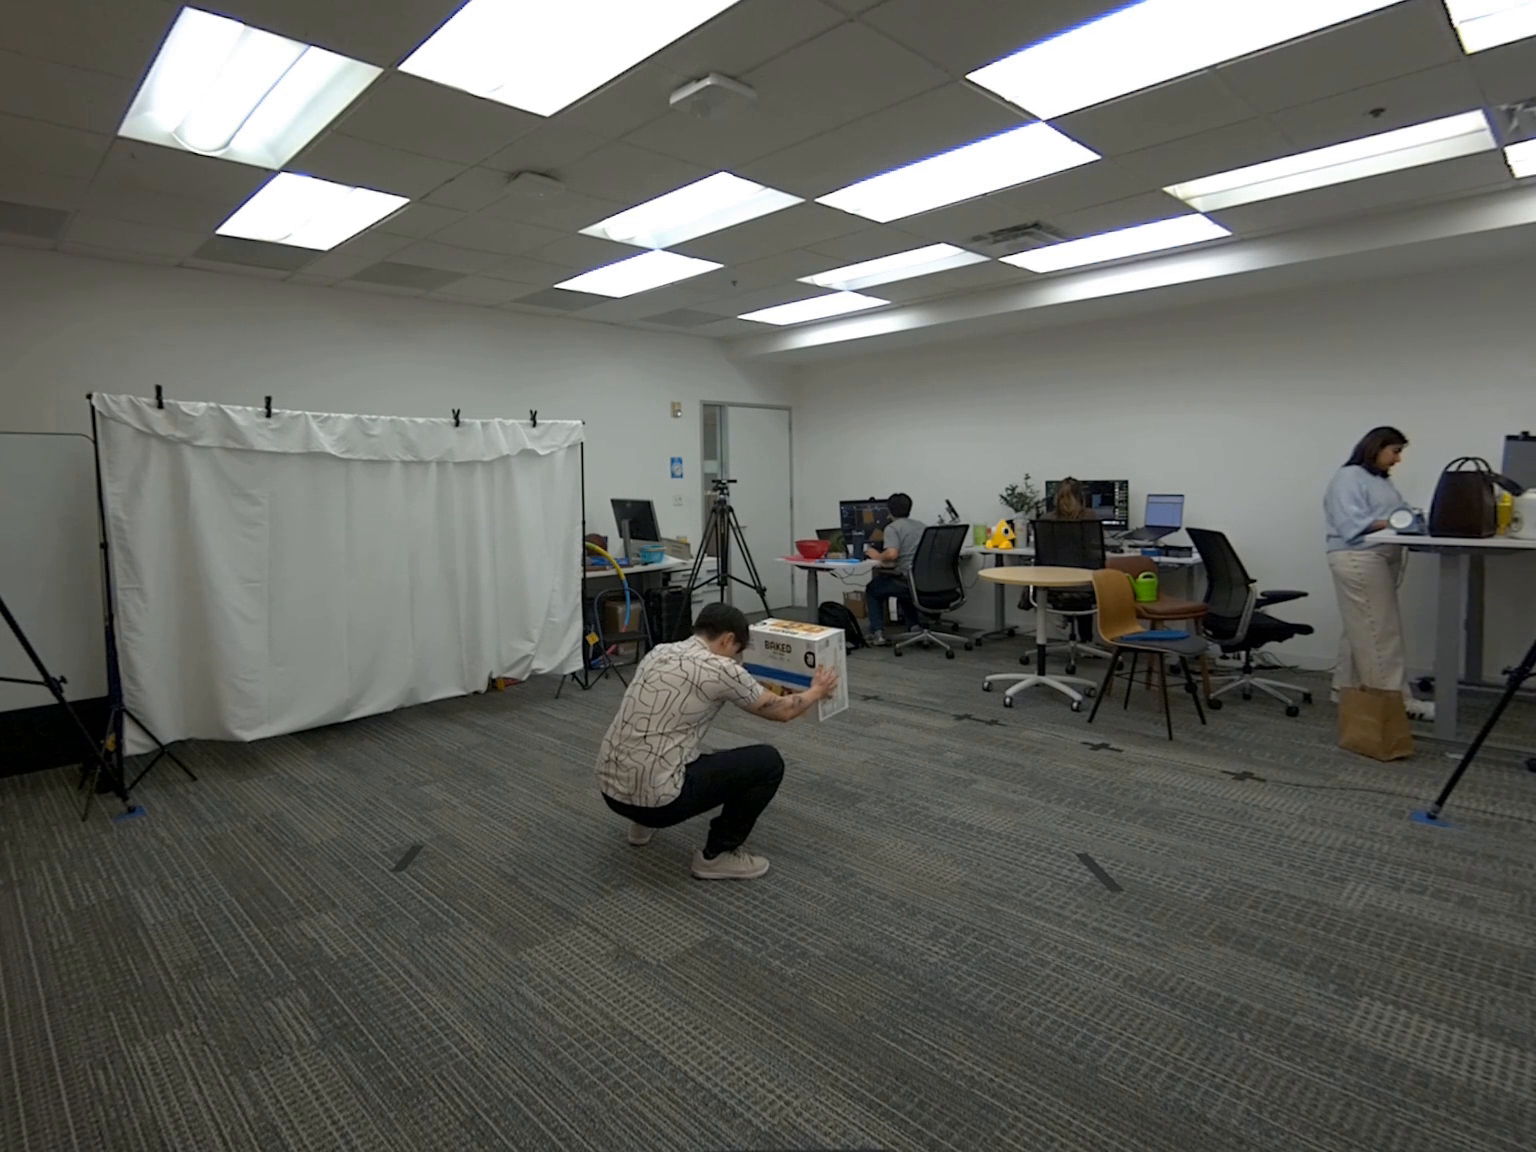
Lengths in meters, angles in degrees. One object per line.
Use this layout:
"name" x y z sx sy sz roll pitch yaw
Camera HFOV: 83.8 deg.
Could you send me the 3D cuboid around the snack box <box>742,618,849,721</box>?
"snack box" 0.112 0.382 3.623 0.418 0.337 0.201 6 13 43
